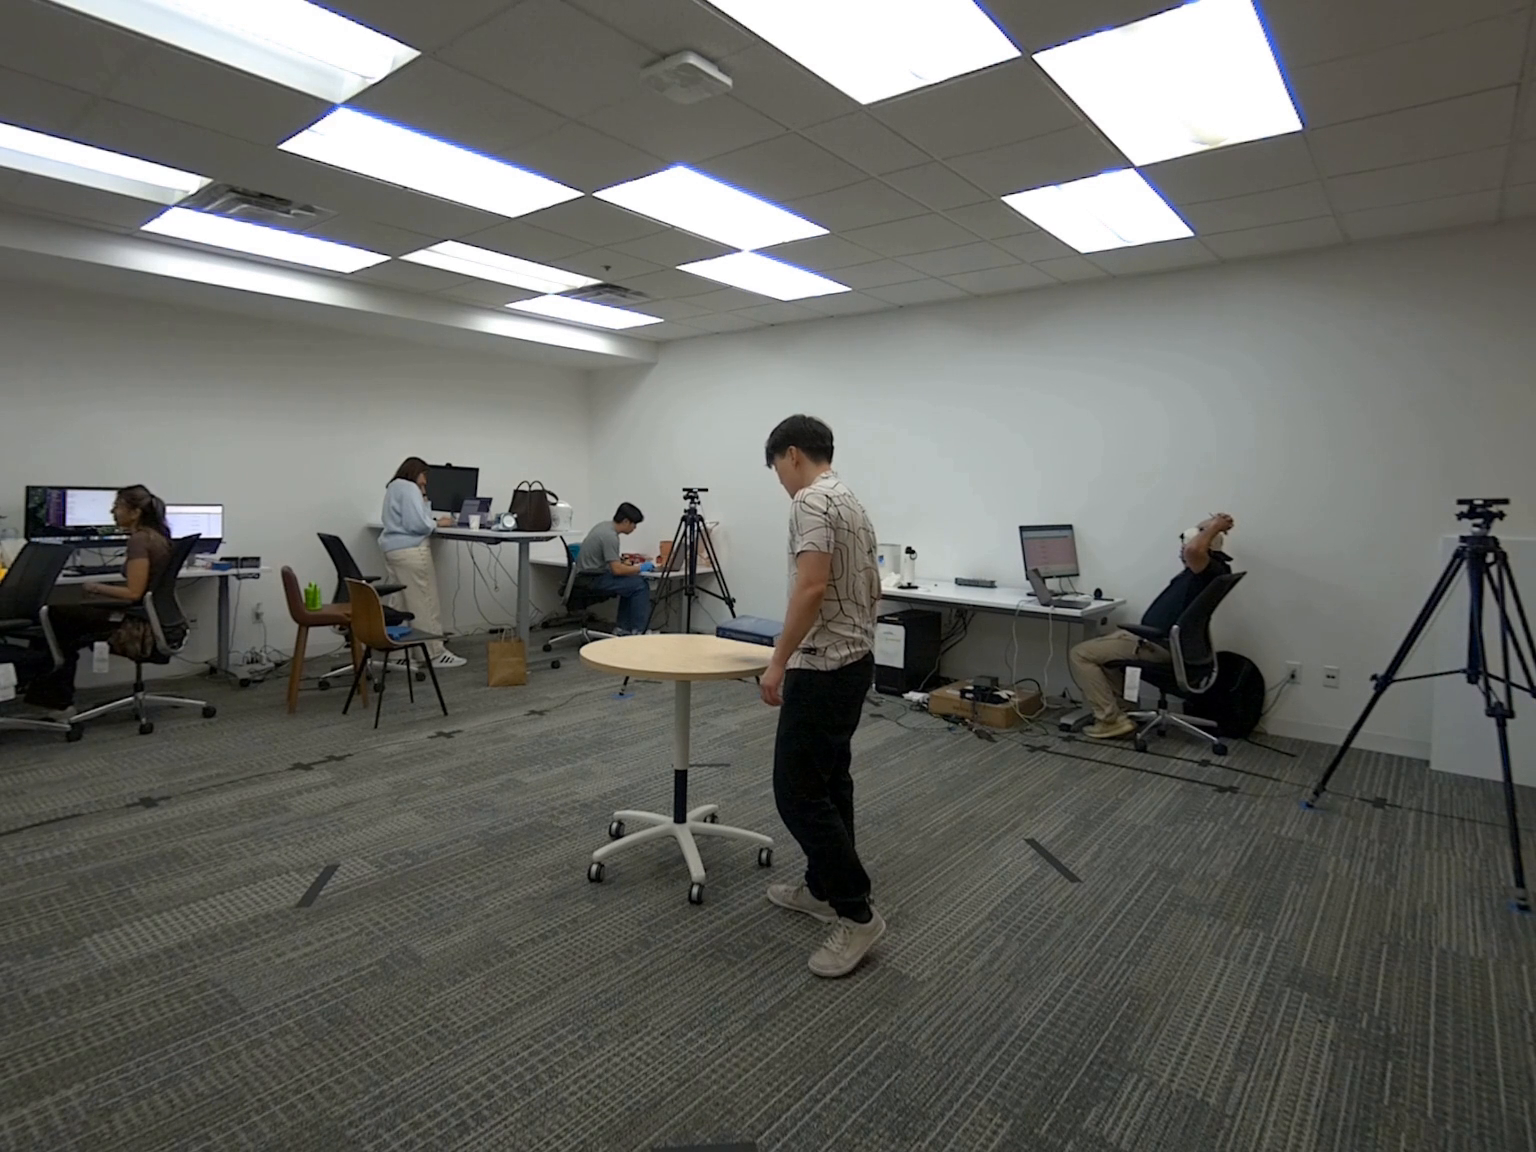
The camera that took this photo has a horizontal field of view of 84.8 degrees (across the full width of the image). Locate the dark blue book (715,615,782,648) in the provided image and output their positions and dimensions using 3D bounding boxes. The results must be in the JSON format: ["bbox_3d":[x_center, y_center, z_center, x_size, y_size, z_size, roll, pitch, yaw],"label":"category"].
[{"bbox_3d":[-0.064,0.192,3.009,0.254,0.044,0.159,10,17,39],"label":"dark blue book"}]
